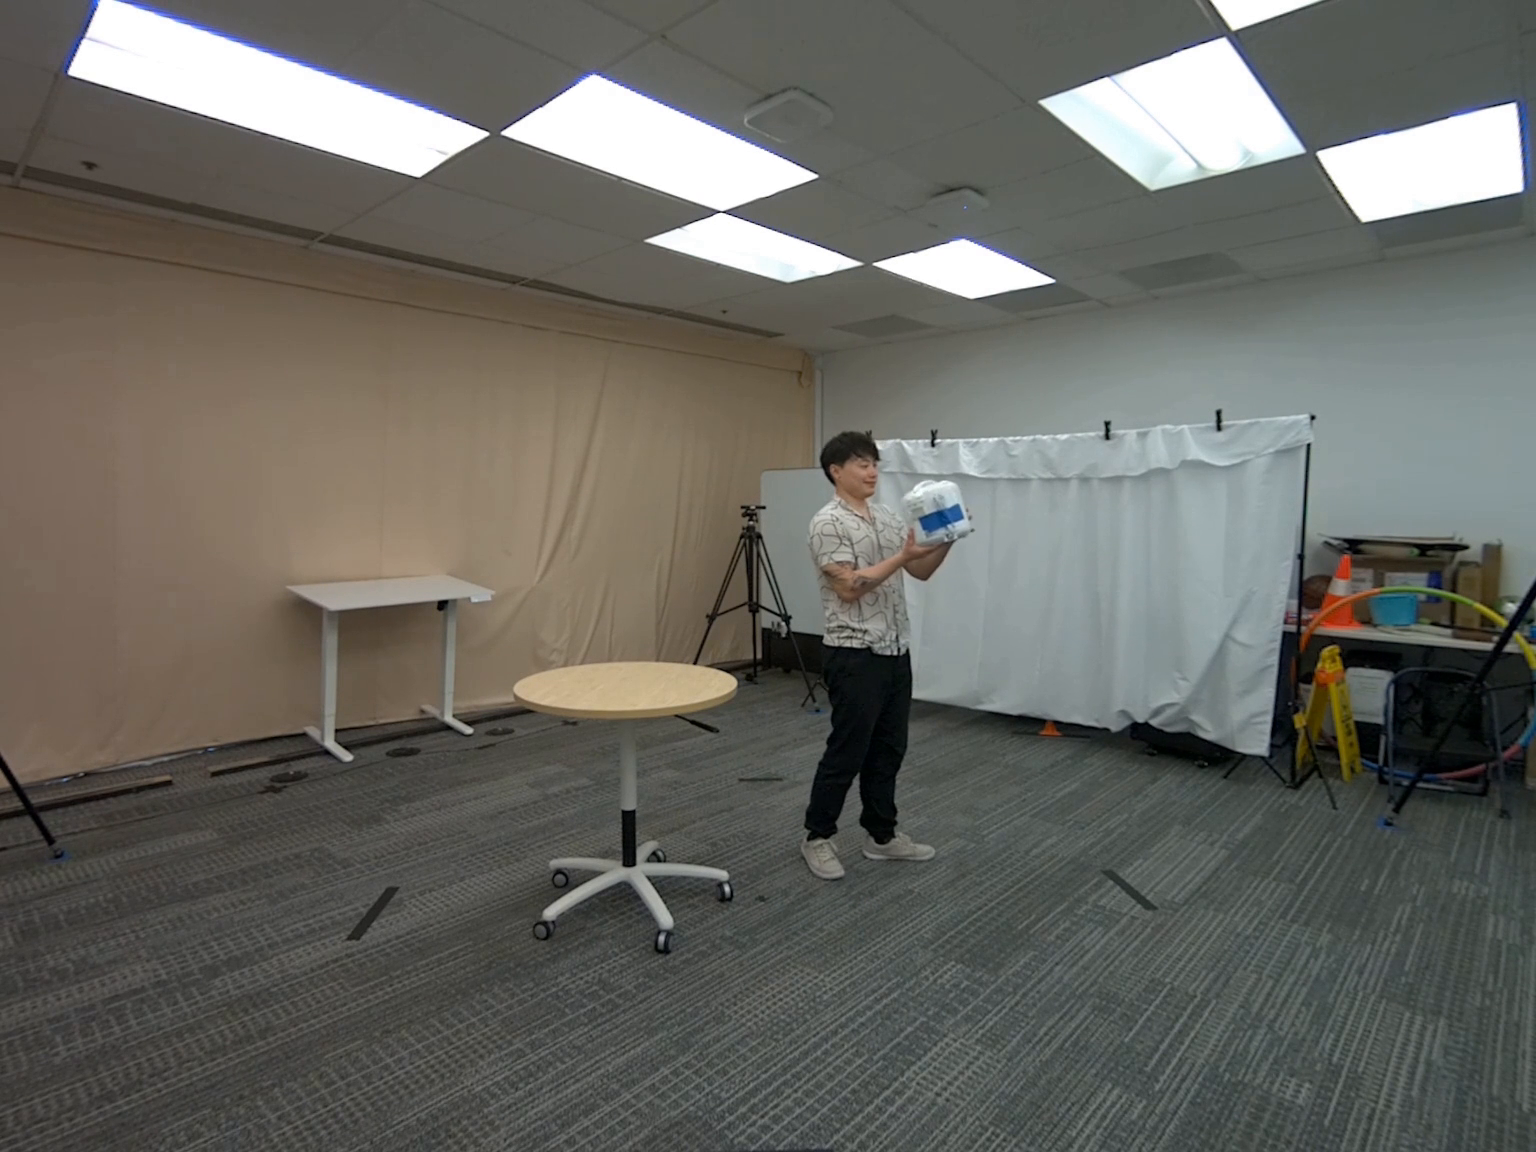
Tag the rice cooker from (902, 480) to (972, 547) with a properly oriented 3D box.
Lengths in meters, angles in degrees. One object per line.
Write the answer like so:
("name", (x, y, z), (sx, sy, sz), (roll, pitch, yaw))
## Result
("rice cooker", (0.592, -0.228, 2.992), (0.223, 0.234, 0.214), (-18, -5, 43))
